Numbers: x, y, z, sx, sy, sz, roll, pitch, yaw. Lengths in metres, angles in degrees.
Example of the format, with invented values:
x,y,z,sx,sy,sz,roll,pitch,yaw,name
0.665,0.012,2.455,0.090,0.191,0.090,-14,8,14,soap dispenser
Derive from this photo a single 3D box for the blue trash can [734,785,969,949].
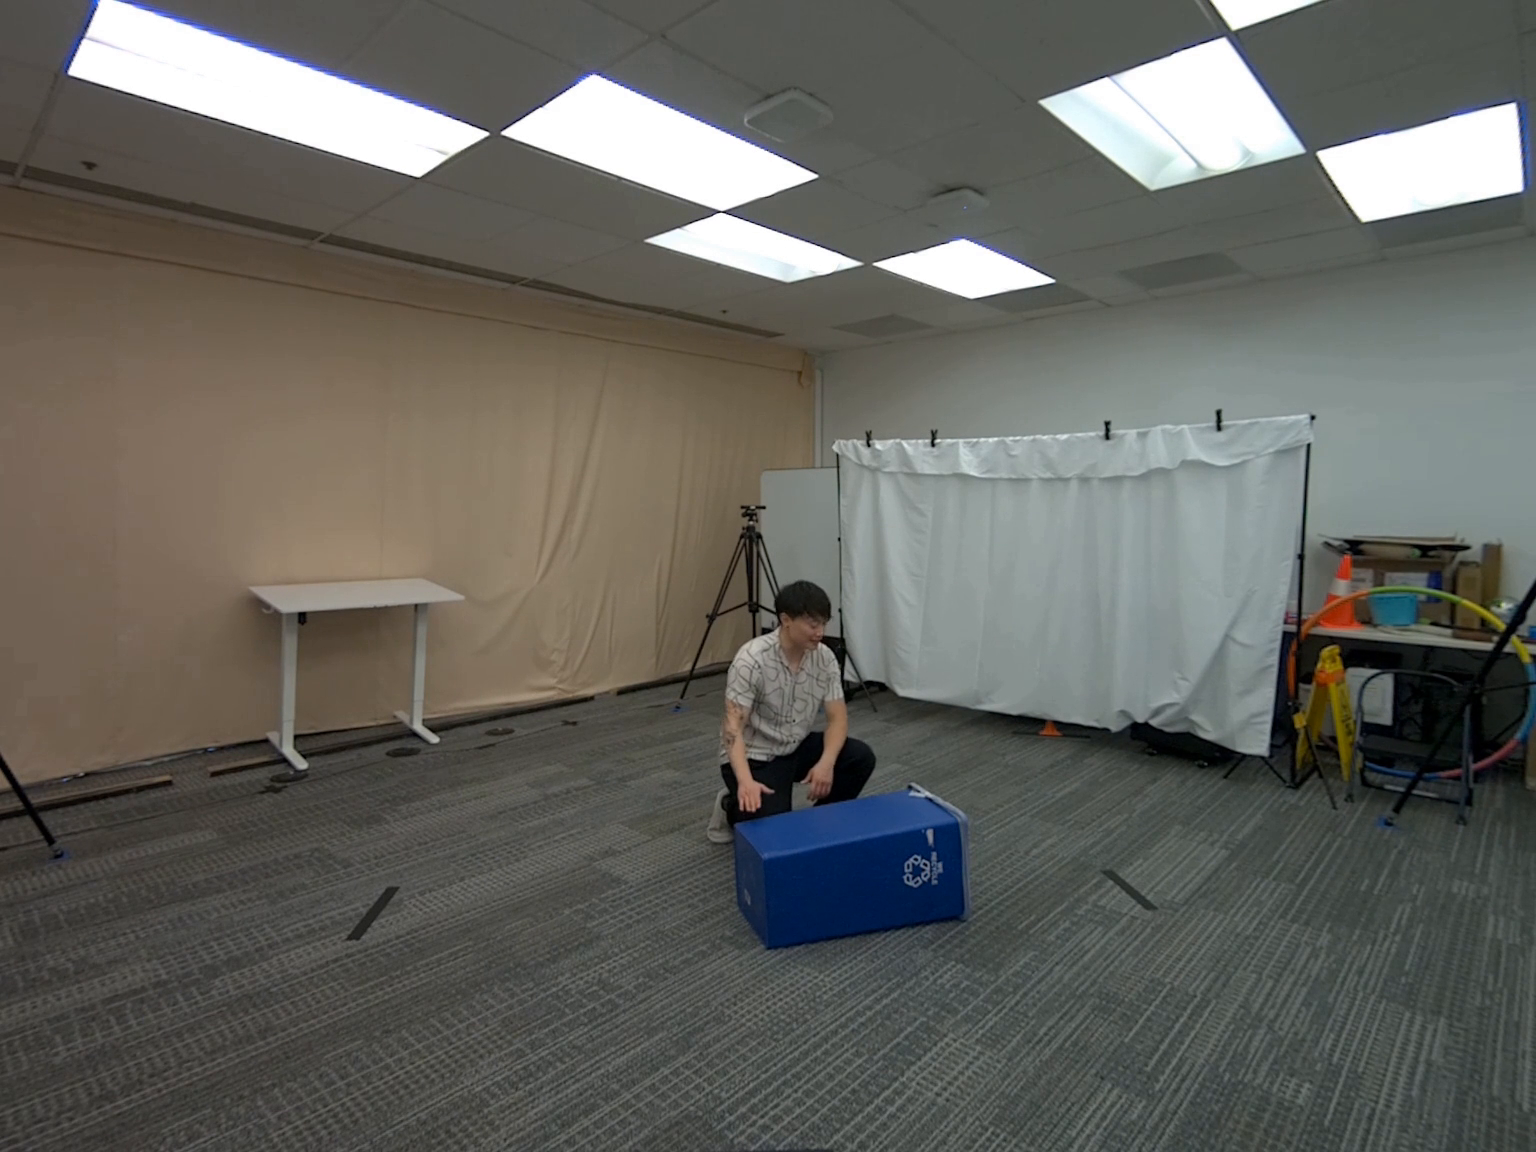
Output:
x,y,z,sx,sy,sz,roll,pitch,yaw,name
0.277,0.981,2.871,0.702,0.373,0.385,-5,4,-17,blue trash can
